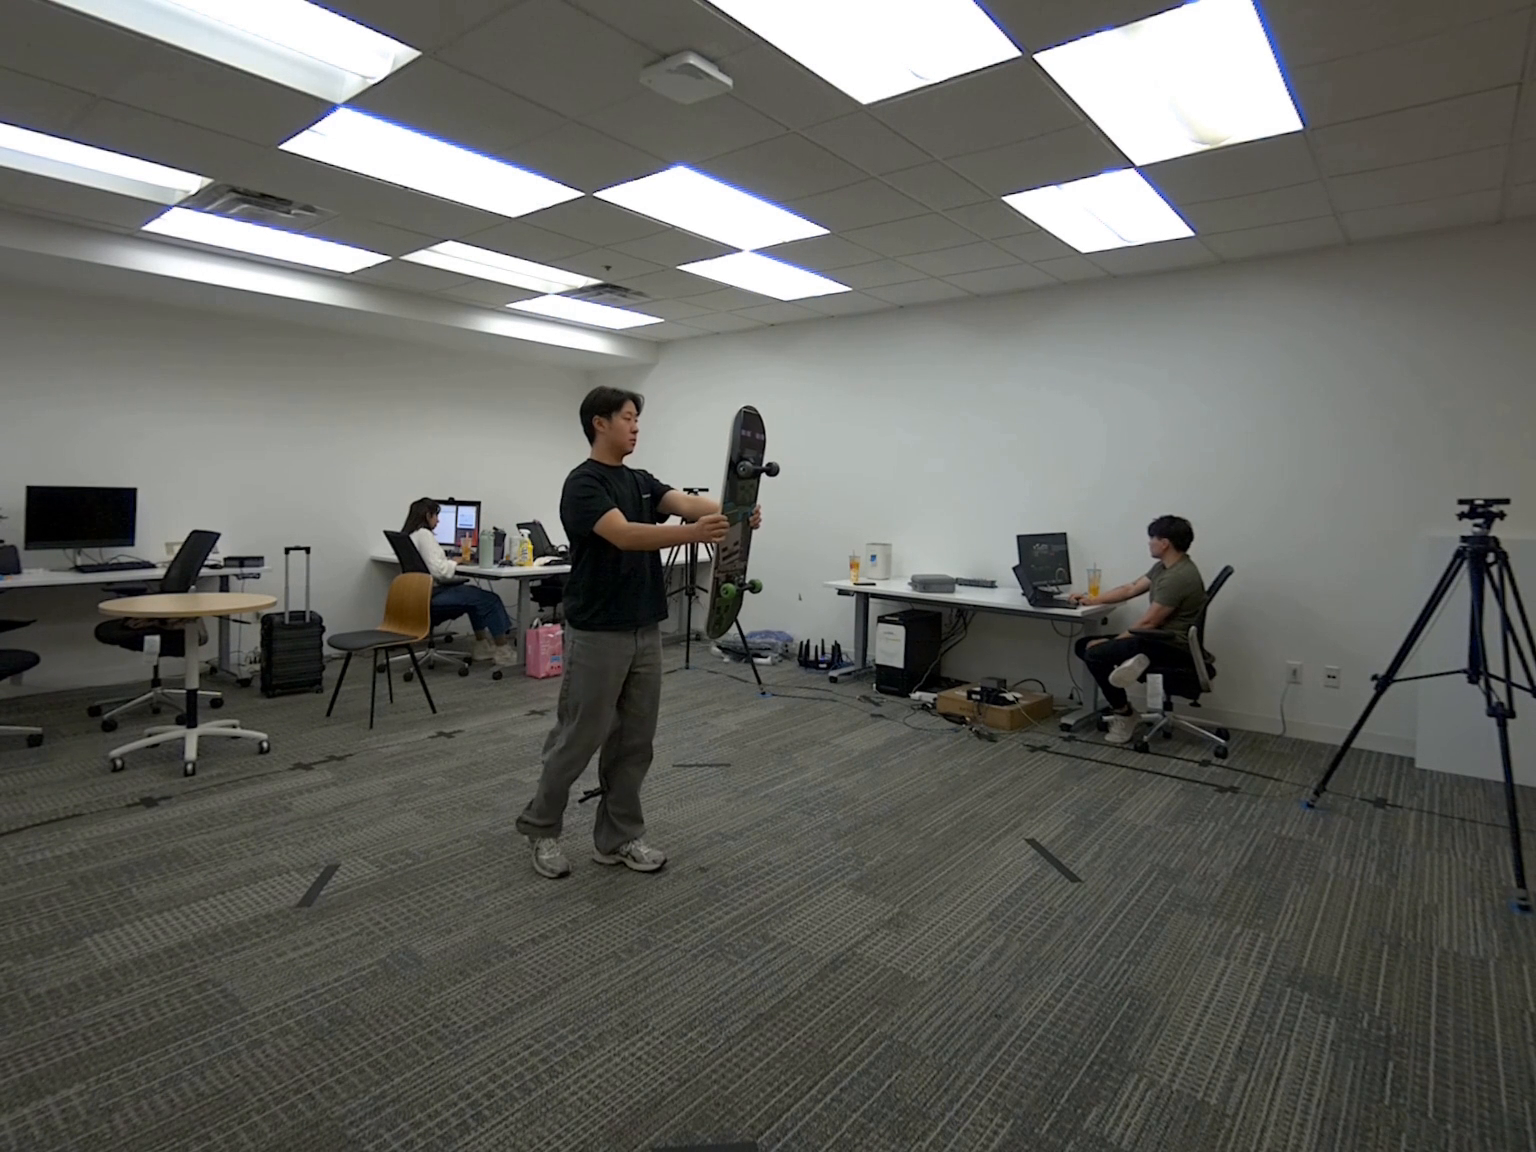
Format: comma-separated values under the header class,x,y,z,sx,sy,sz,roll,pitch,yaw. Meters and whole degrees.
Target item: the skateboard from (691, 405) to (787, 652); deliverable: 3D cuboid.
class,x,y,z,sx,sy,sz,roll,pitch,yaw
skateboard,-0.098,-0.159,2.780,0.114,0.779,0.188,16,13,34
